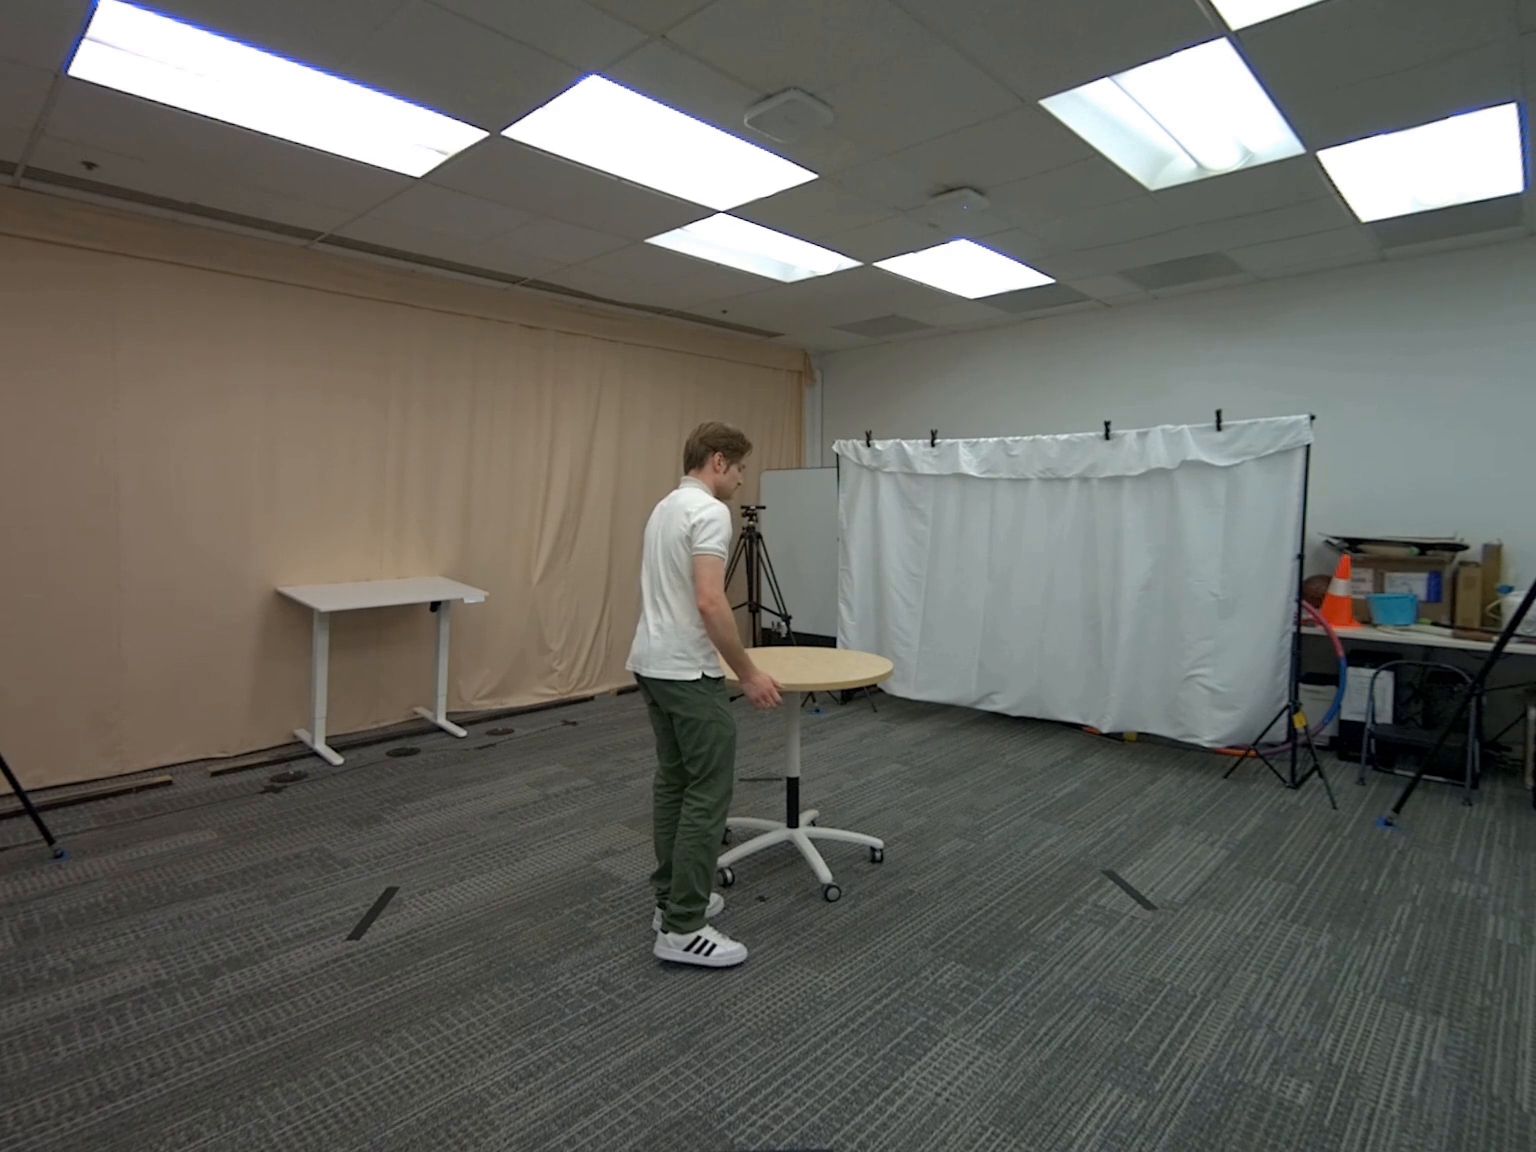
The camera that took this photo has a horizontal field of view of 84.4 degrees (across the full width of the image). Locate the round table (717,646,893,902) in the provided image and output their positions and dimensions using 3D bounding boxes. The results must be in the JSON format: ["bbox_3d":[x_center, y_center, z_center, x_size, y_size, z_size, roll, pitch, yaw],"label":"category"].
[{"bbox_3d":[0.104,0.728,3.273,0.763,0.792,0.766,0,4,-2],"label":"round table"}]
